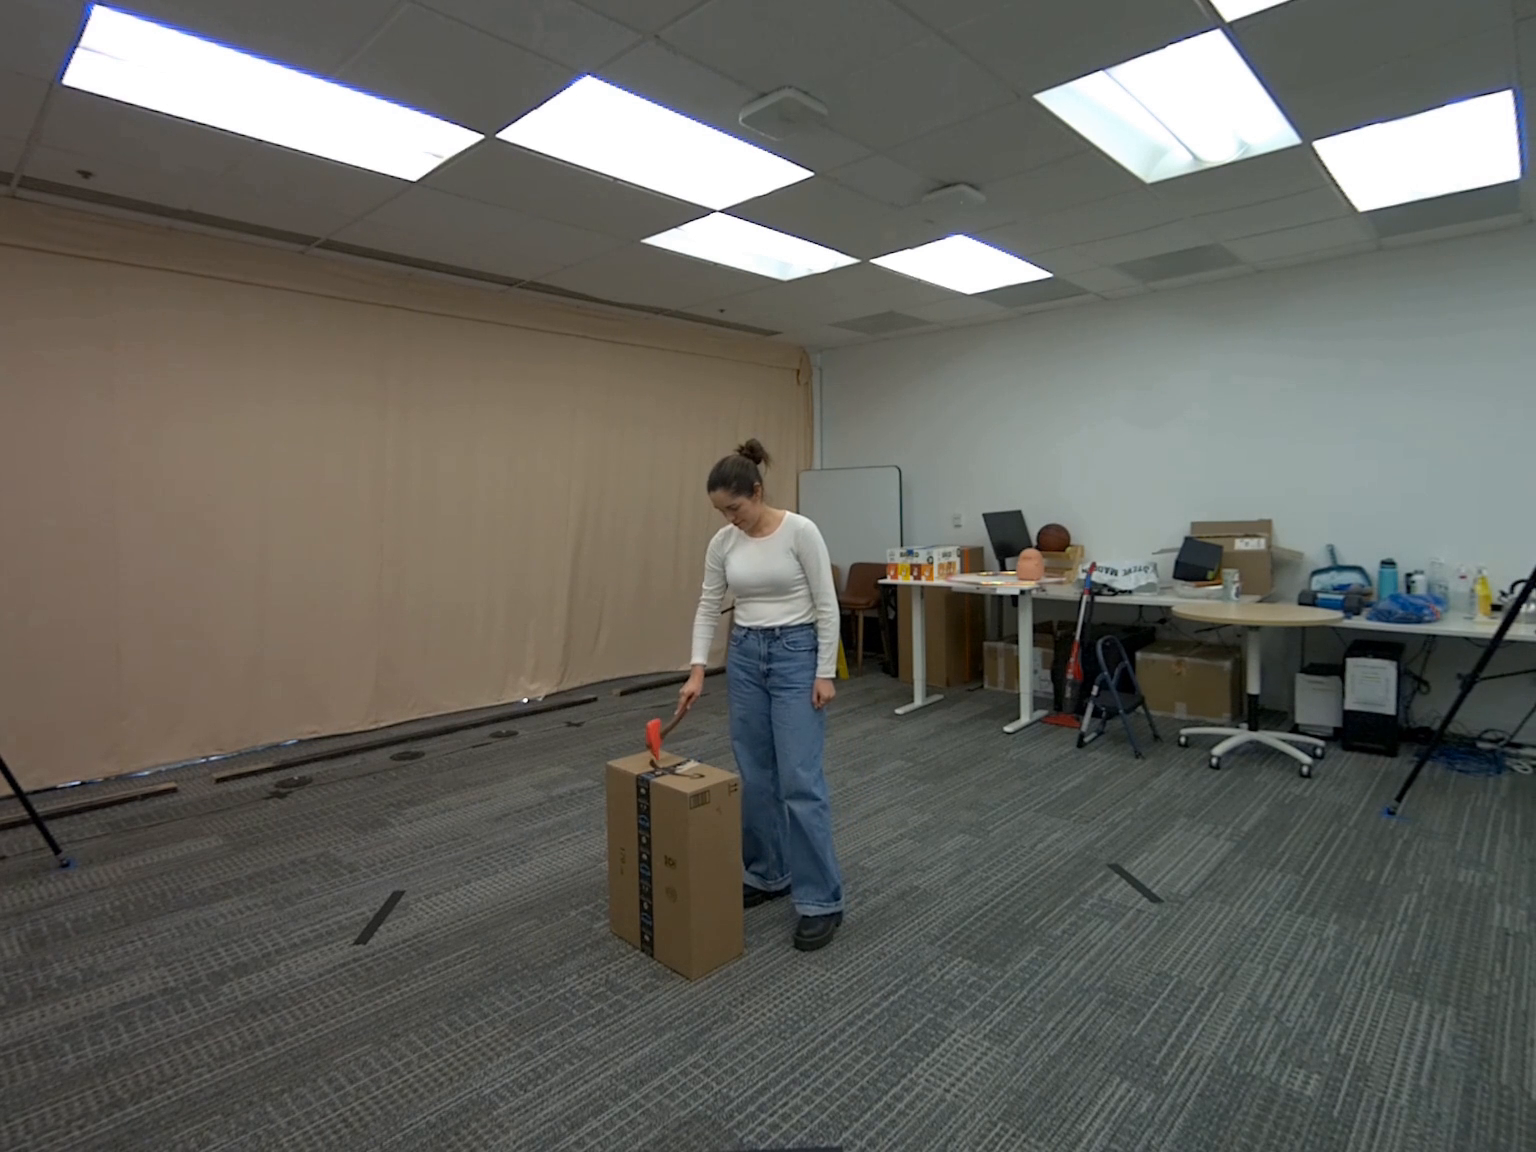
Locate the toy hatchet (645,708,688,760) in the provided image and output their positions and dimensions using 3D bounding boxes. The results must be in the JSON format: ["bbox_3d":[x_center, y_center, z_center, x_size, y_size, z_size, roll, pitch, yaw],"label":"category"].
[{"bbox_3d":[-0.336,0.471,2.808,0.030,0.127,0.269,0,42,34],"label":"toy hatchet"}]
